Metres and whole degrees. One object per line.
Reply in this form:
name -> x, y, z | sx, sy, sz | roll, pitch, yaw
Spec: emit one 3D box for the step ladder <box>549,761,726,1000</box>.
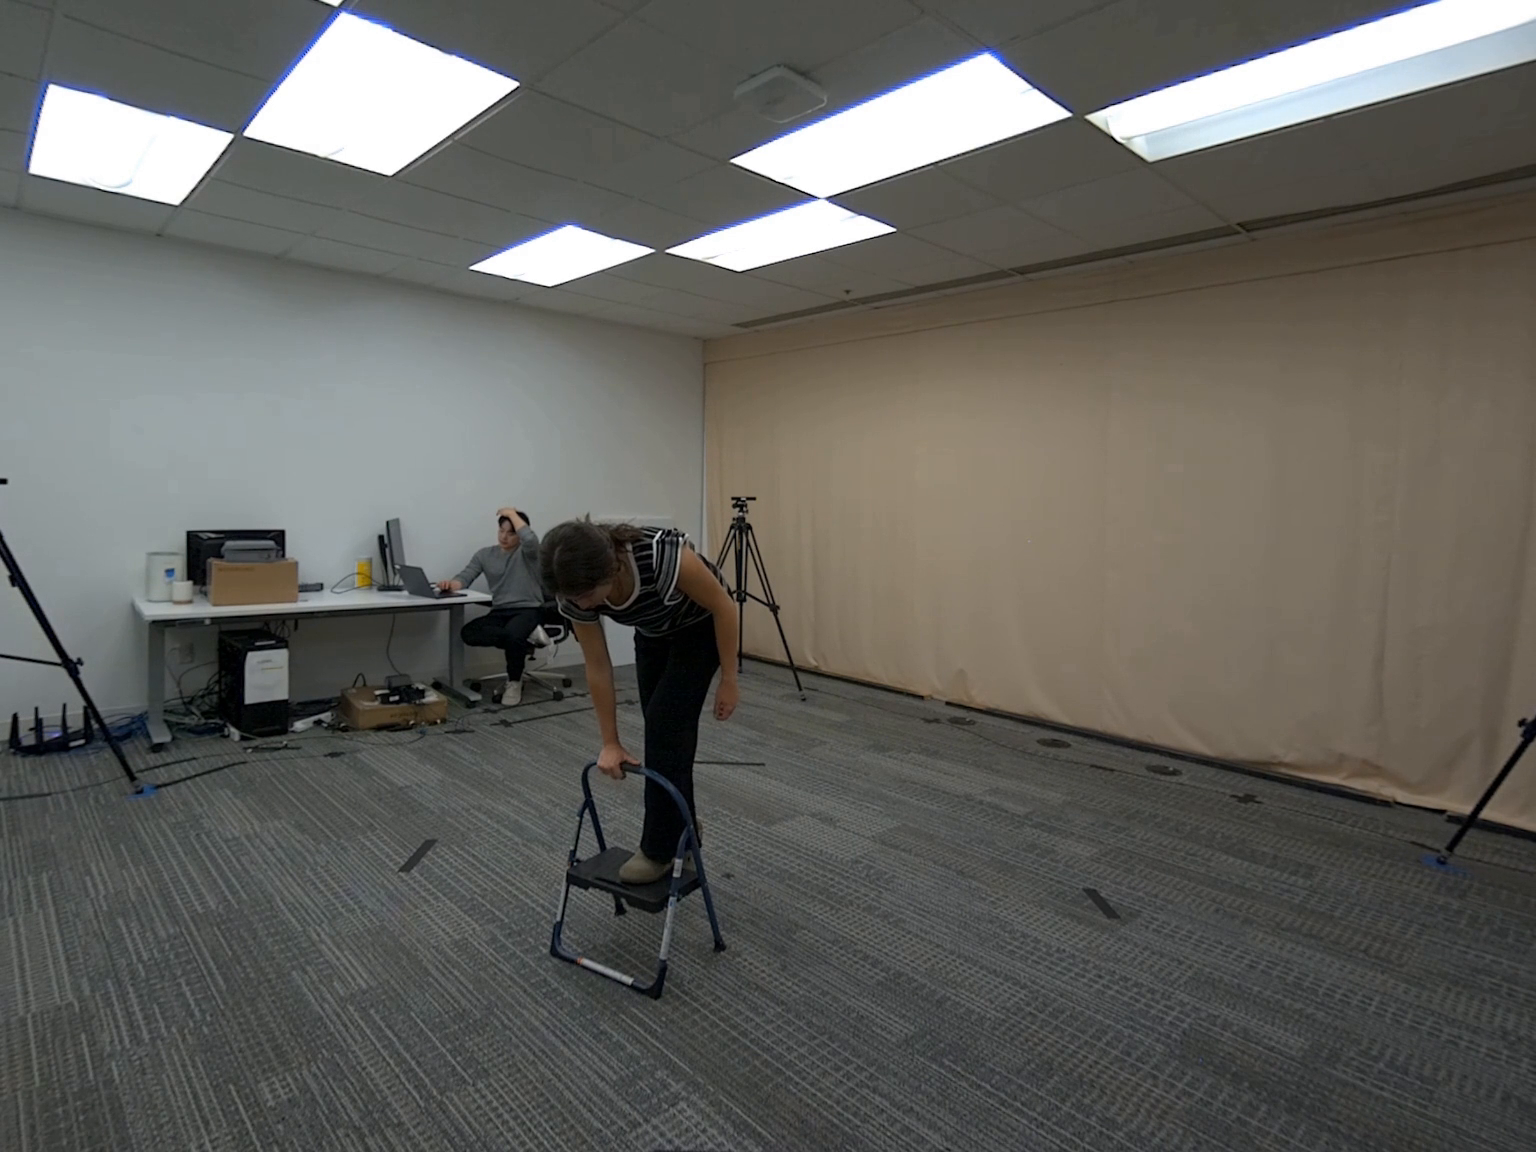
step ladder -> -0.400, 0.852, 2.559 | 0.440, 0.605, 0.342 | 3, 3, 31
